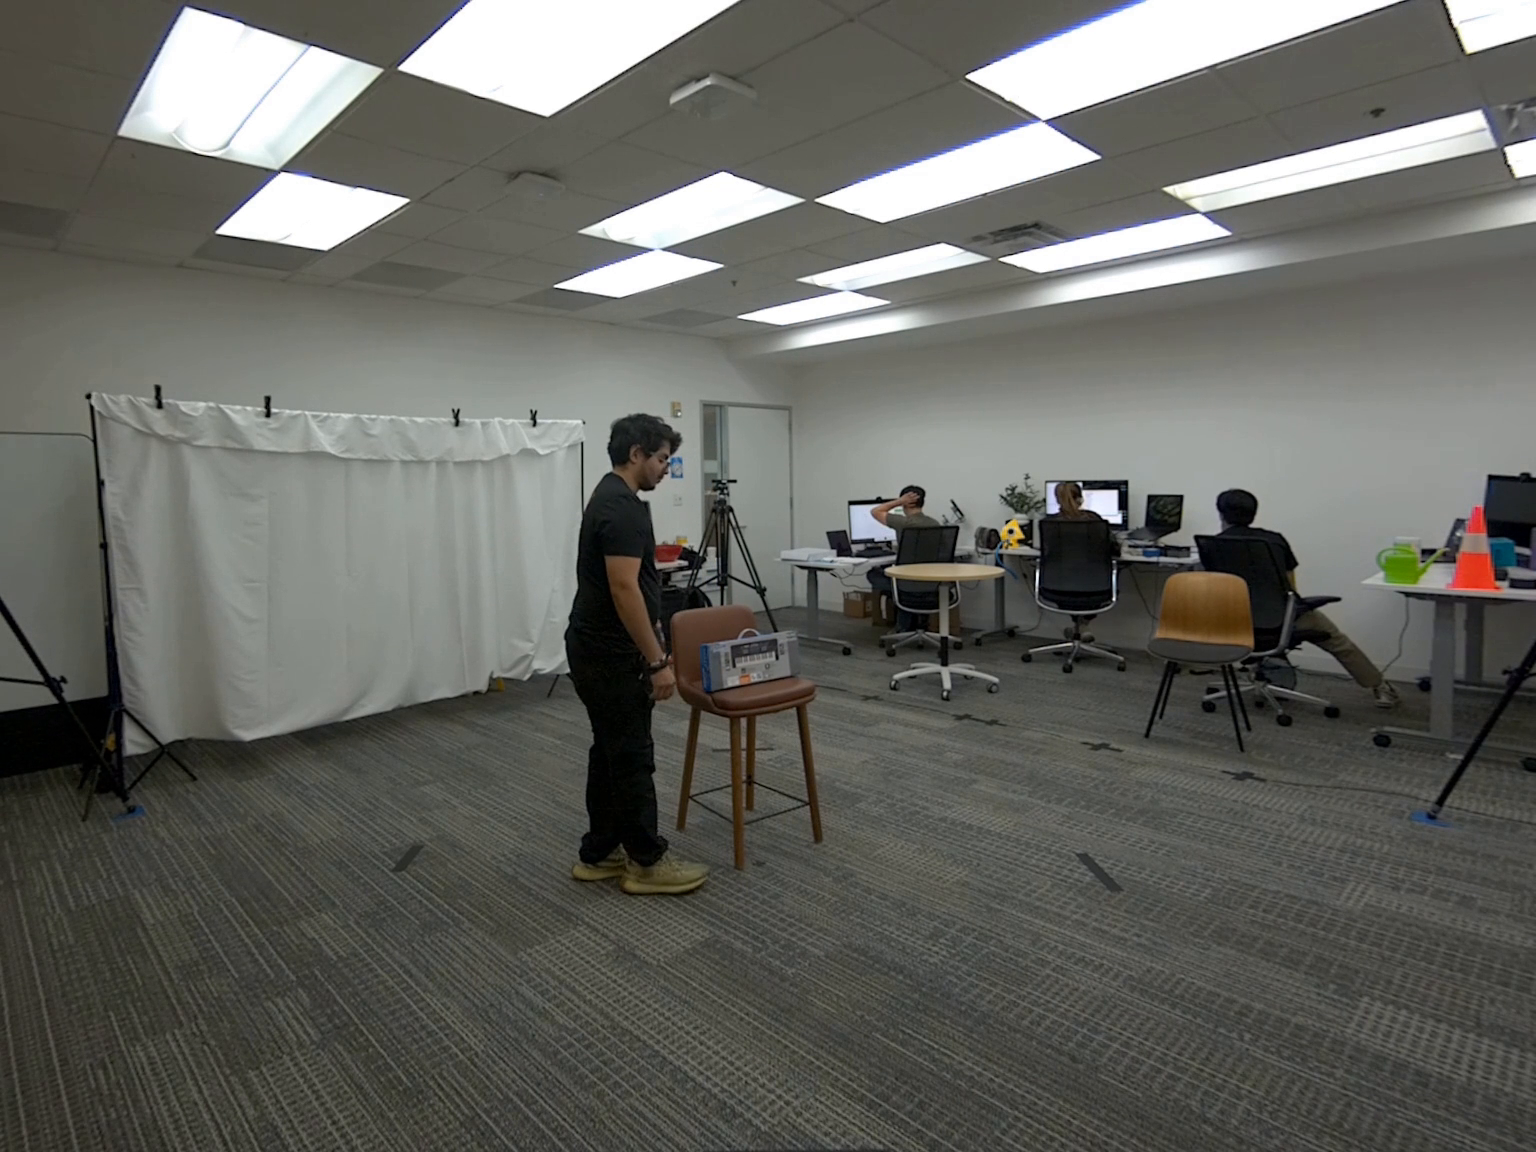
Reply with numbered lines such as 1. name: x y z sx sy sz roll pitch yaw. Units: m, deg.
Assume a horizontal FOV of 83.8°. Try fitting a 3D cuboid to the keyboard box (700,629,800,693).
1. keyboard box: -0.067 0.324 3.303 0.426 0.176 0.060 -6 -1 -36
